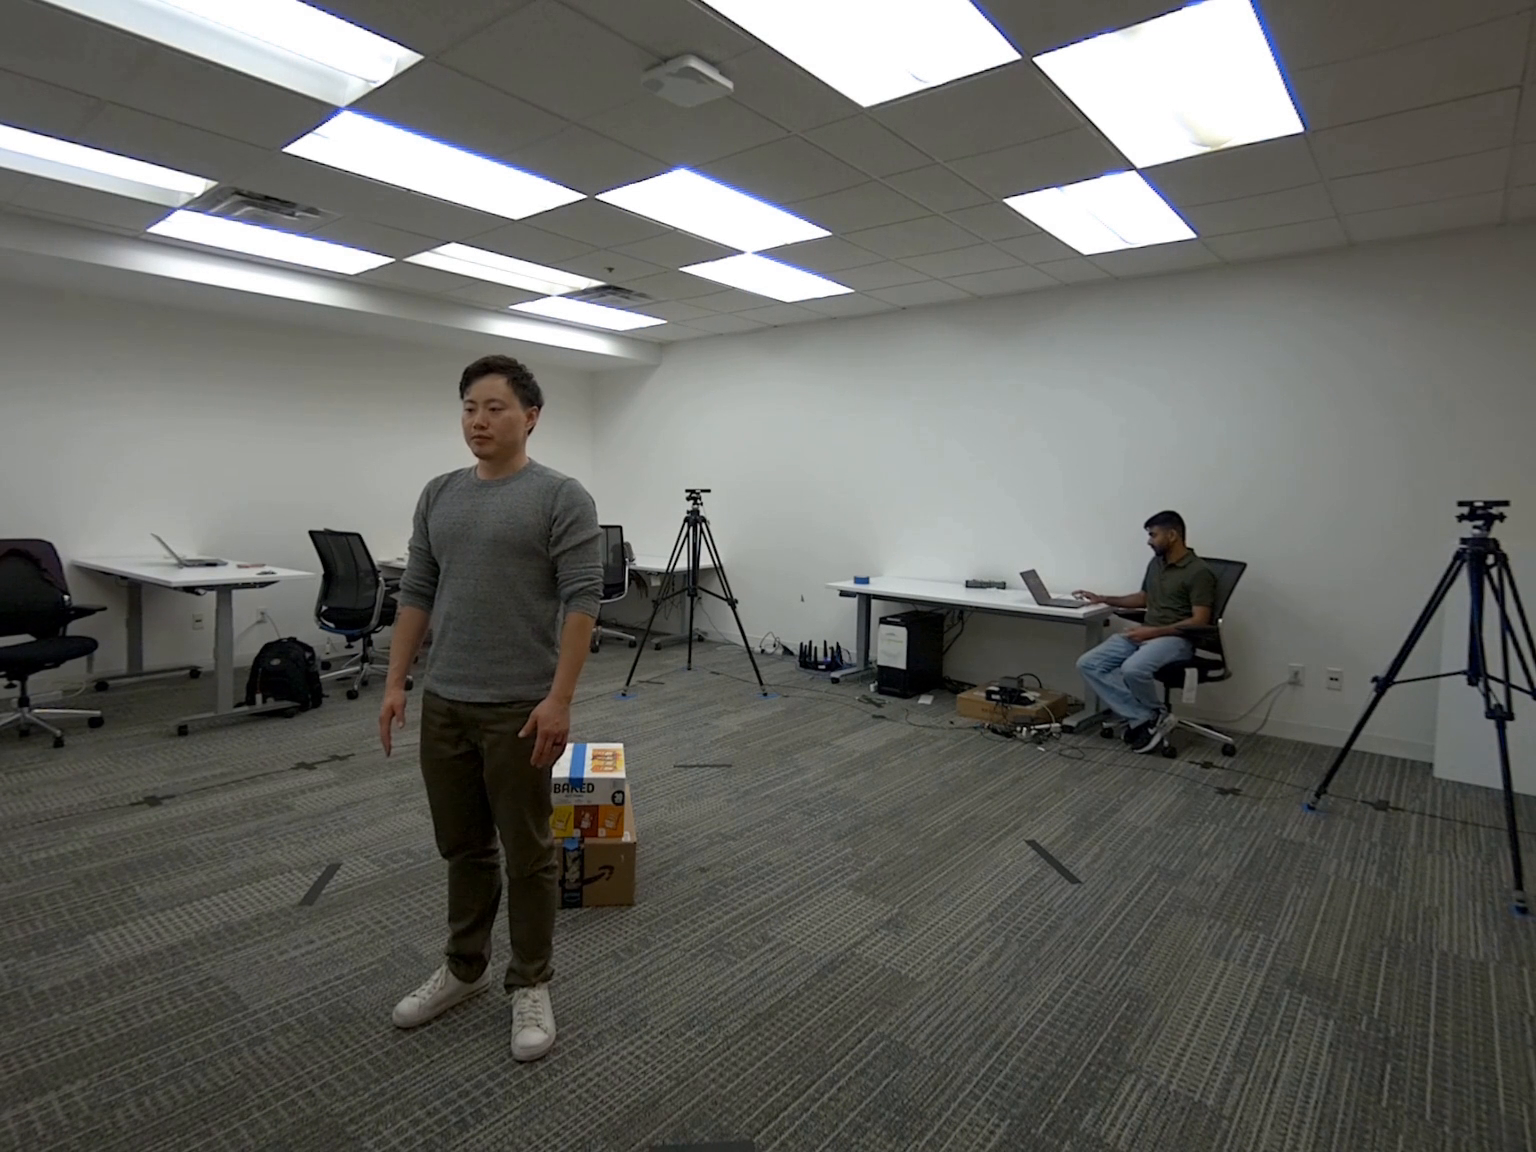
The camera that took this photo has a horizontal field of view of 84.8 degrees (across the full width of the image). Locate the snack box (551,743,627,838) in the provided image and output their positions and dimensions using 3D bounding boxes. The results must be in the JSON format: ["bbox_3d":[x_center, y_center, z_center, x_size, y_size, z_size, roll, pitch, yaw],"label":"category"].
[{"bbox_3d":[-0.695,0.757,3.036,0.337,0.205,0.410,2,5,-9],"label":"snack box"}]
